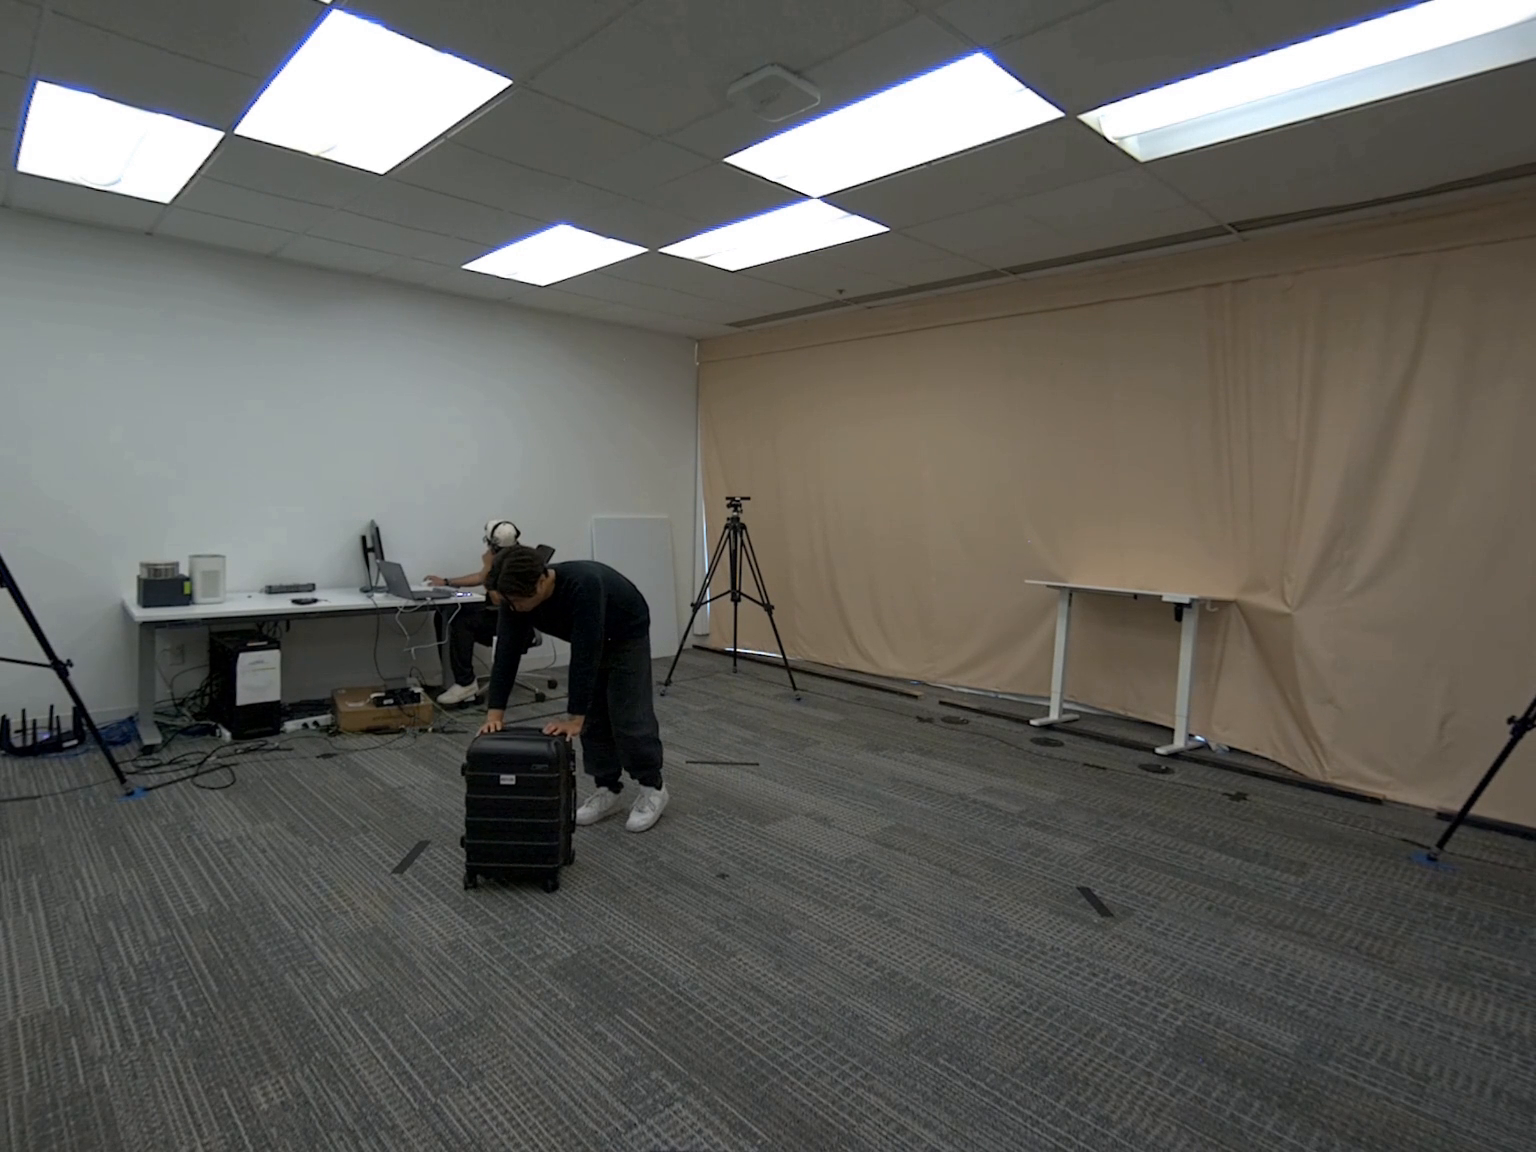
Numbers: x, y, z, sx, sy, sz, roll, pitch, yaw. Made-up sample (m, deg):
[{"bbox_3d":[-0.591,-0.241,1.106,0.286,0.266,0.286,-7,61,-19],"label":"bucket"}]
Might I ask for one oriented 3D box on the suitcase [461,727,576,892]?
[{"bbox_3d":[-0.902,0.824,3.031,0.376,0.547,0.249,2,6,1],"label":"suitcase"}]
